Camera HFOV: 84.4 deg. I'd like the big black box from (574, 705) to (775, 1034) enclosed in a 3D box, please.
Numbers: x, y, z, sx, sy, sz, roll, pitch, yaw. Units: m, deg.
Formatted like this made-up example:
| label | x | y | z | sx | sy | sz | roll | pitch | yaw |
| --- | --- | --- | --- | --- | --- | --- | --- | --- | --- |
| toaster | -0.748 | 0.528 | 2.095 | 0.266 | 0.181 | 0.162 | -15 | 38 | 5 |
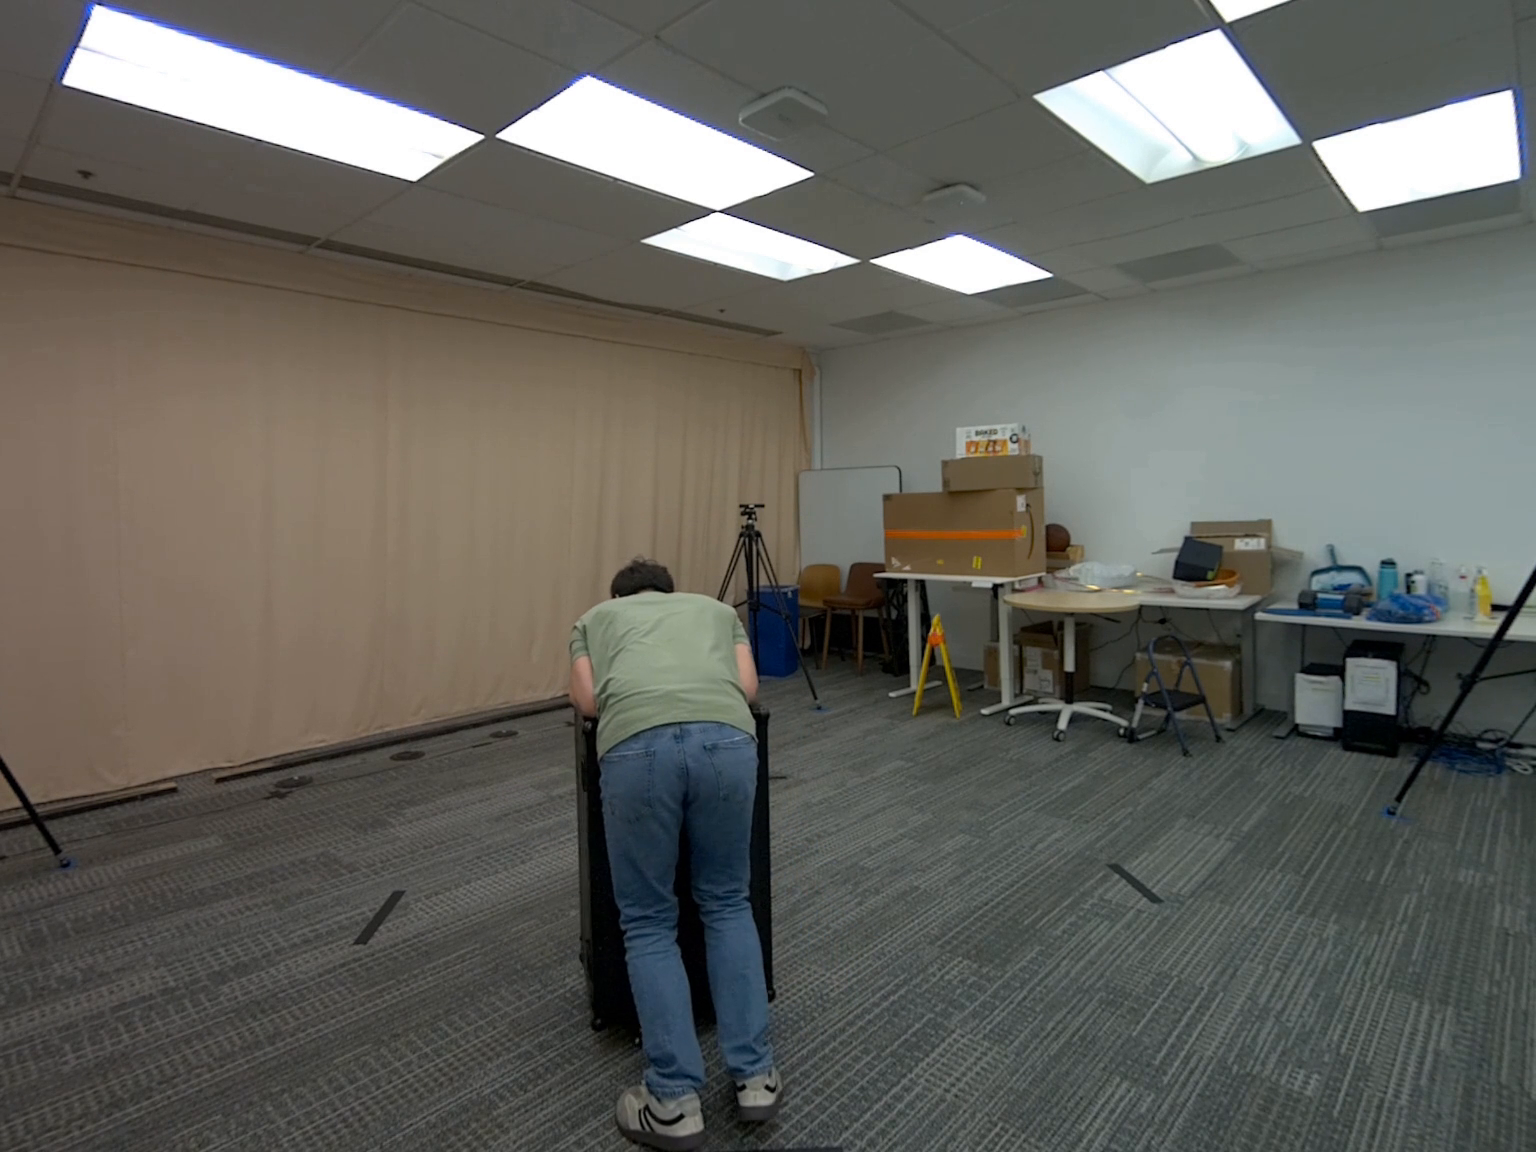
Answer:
| label | x | y | z | sx | sy | sz | roll | pitch | yaw |
| --- | --- | --- | --- | --- | --- | --- | --- | --- | --- |
| big black box | -0.282 | 0.779 | 2.351 | 0.513 | 0.860 | 0.403 | -2 | 2 | -16 |
